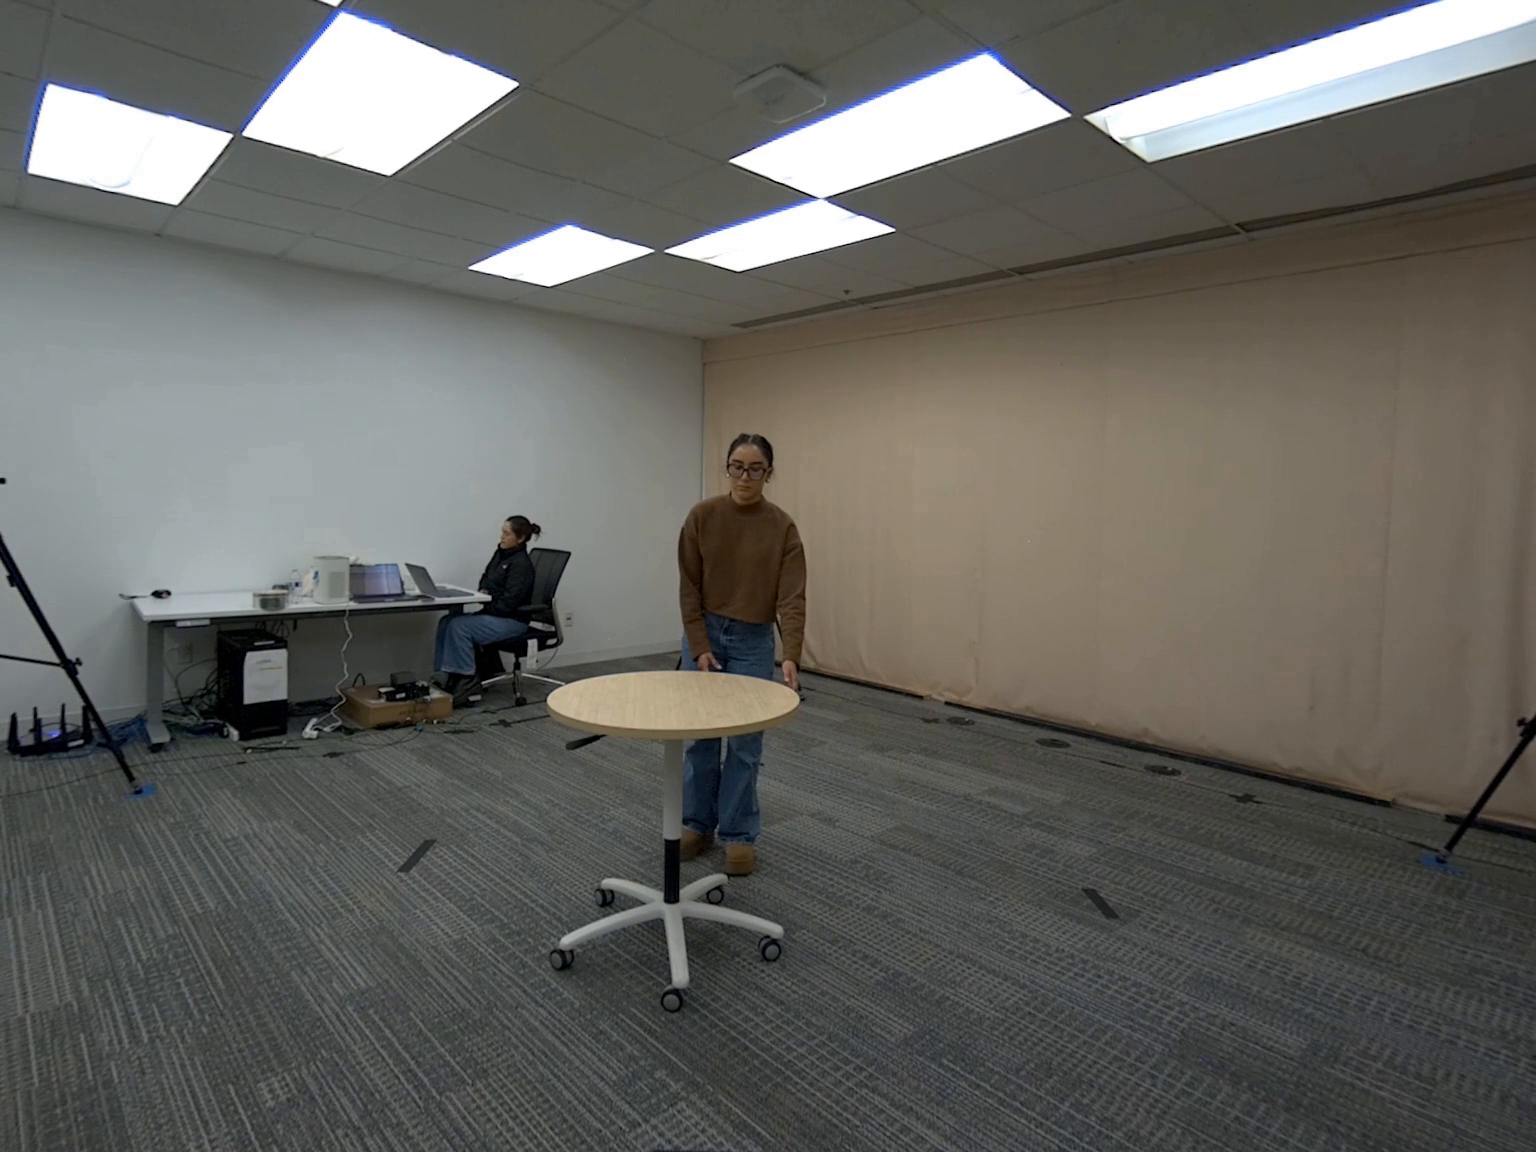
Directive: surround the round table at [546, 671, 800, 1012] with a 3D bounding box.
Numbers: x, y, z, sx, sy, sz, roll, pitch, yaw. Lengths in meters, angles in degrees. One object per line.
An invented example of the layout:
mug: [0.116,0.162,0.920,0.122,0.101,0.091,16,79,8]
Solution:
round table: [-0.320,0.759,2.590,0.784,0.785,0.787,1,4,-1]
